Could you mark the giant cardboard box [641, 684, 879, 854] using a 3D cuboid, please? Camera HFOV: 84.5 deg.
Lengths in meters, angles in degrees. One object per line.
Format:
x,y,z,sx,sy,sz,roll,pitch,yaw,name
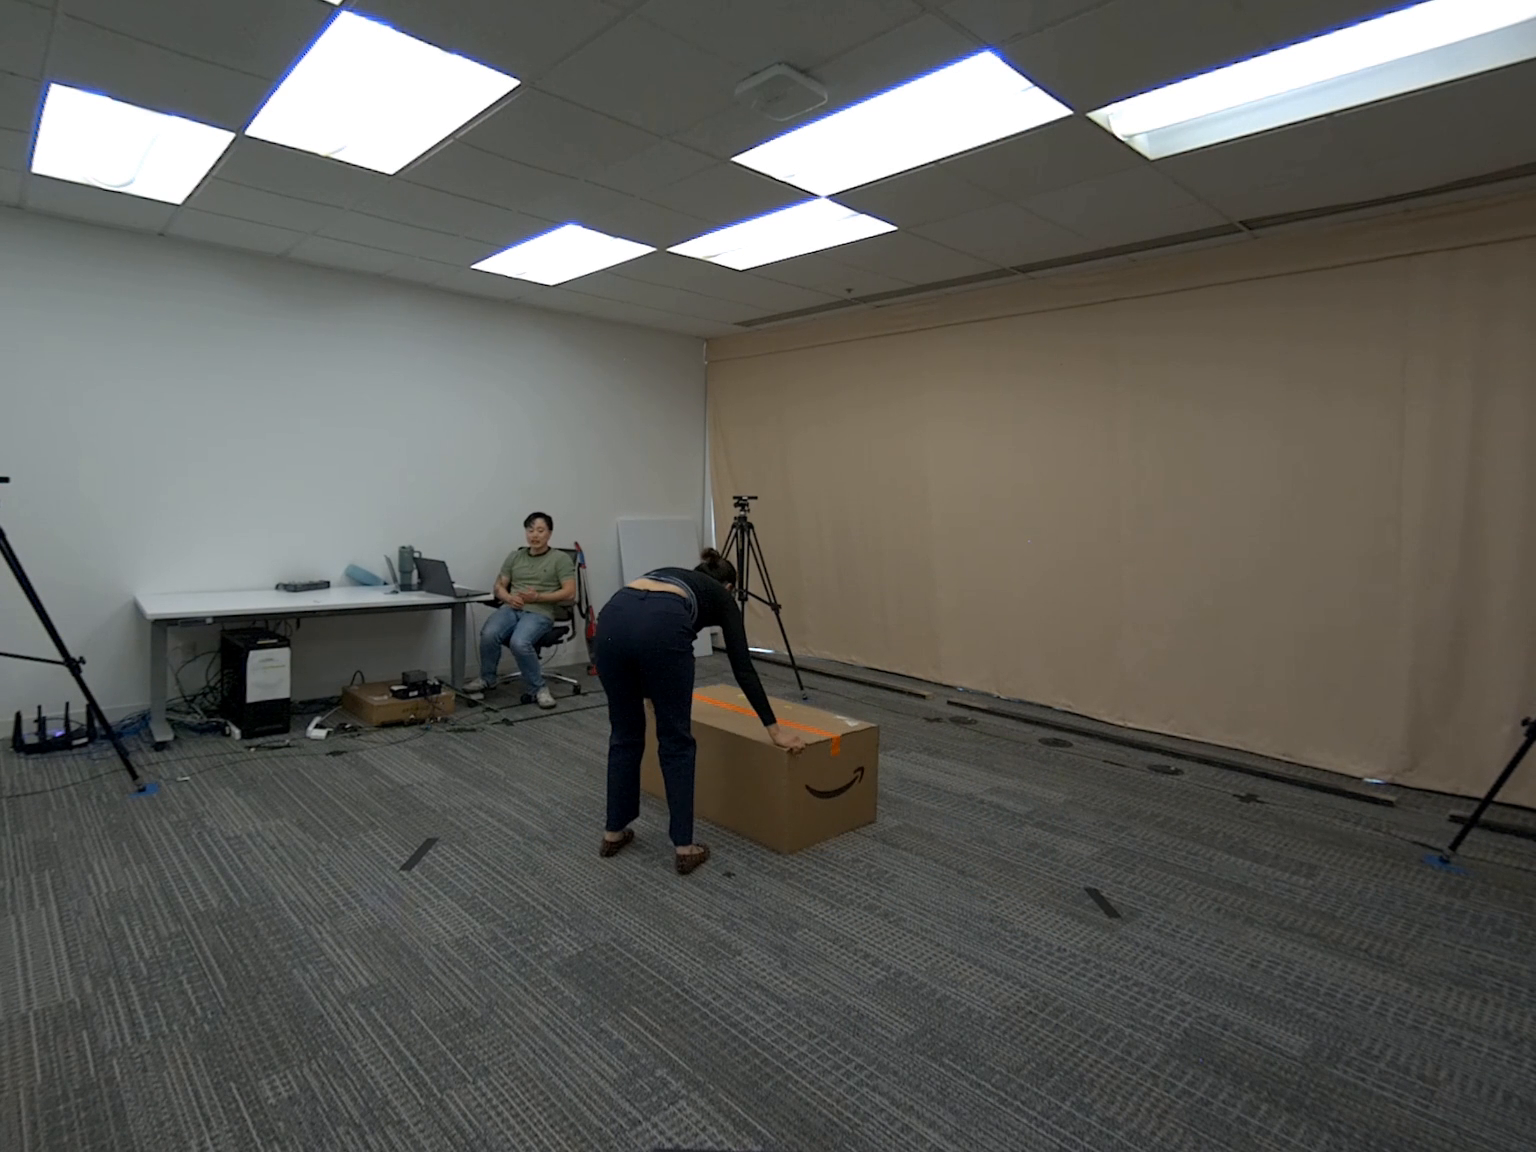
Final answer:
-0.086,0.827,3.840,0.564,0.425,1.052,-4,7,-43,giant cardboard box
